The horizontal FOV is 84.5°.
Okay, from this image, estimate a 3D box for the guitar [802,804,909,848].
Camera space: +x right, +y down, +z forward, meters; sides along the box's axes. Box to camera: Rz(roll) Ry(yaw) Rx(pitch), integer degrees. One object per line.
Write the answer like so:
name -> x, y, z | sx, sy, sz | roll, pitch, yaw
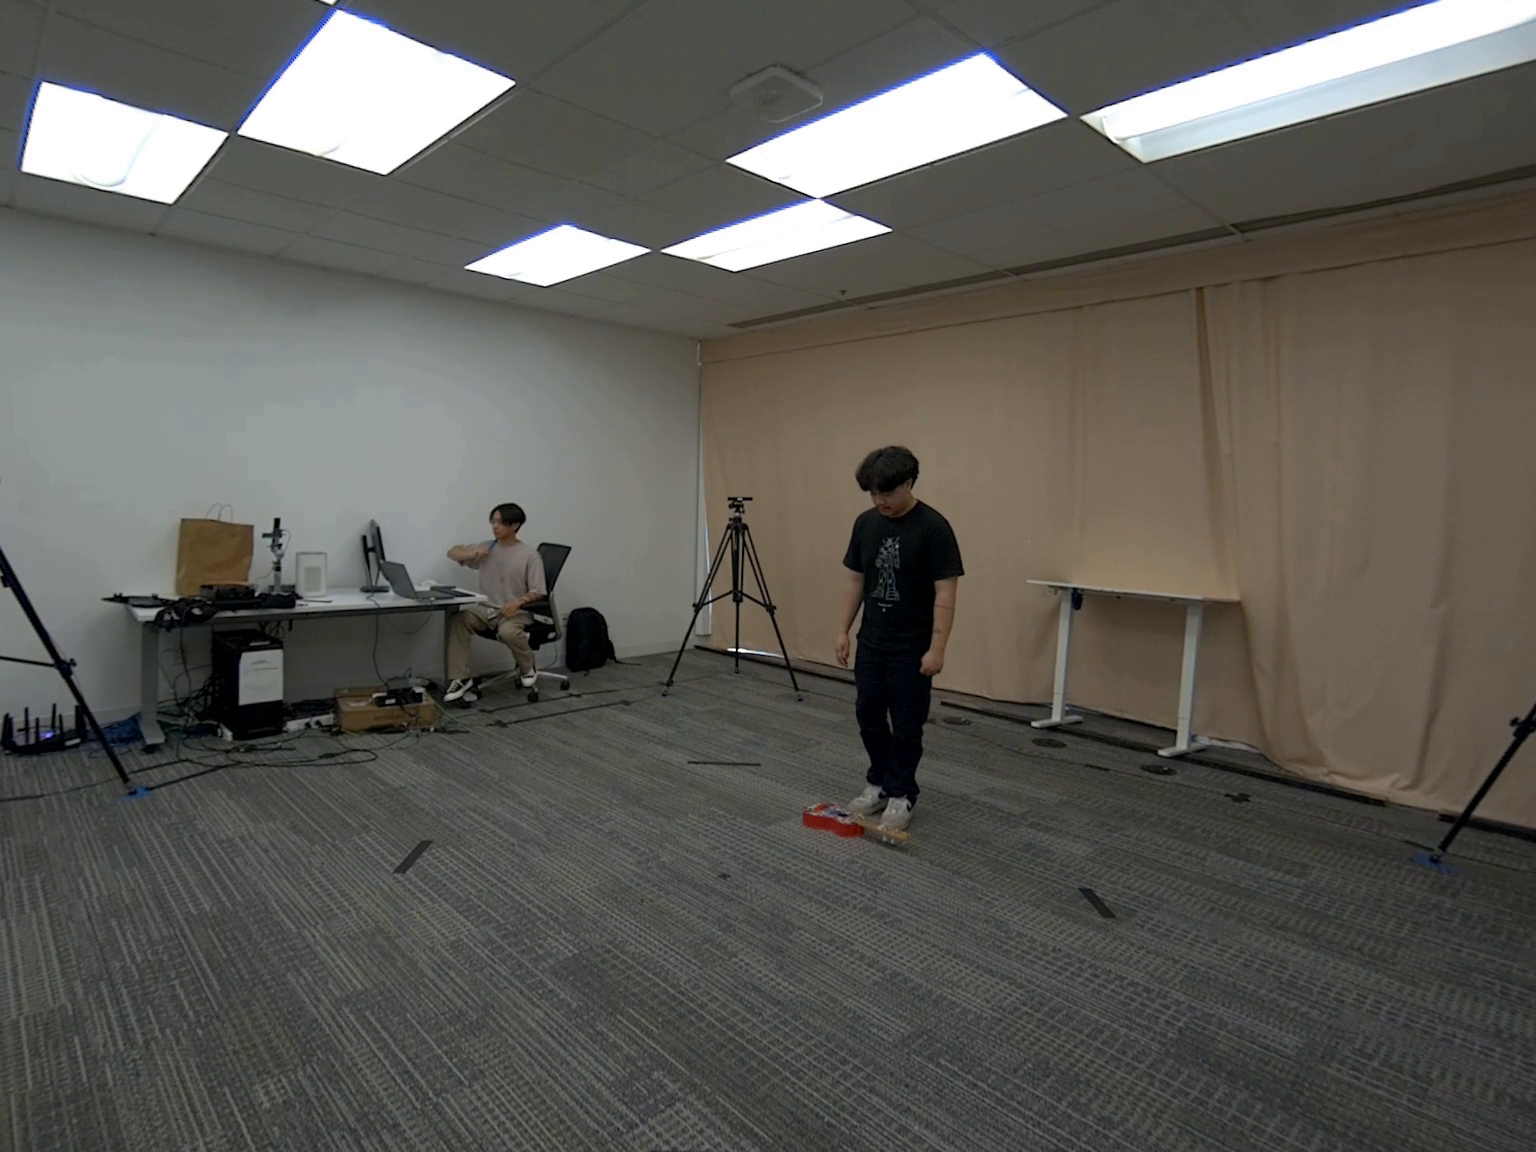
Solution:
guitar -> 0.342, 1.052, 3.519 | 0.188, 0.070, 0.510 | -1, 4, -37
